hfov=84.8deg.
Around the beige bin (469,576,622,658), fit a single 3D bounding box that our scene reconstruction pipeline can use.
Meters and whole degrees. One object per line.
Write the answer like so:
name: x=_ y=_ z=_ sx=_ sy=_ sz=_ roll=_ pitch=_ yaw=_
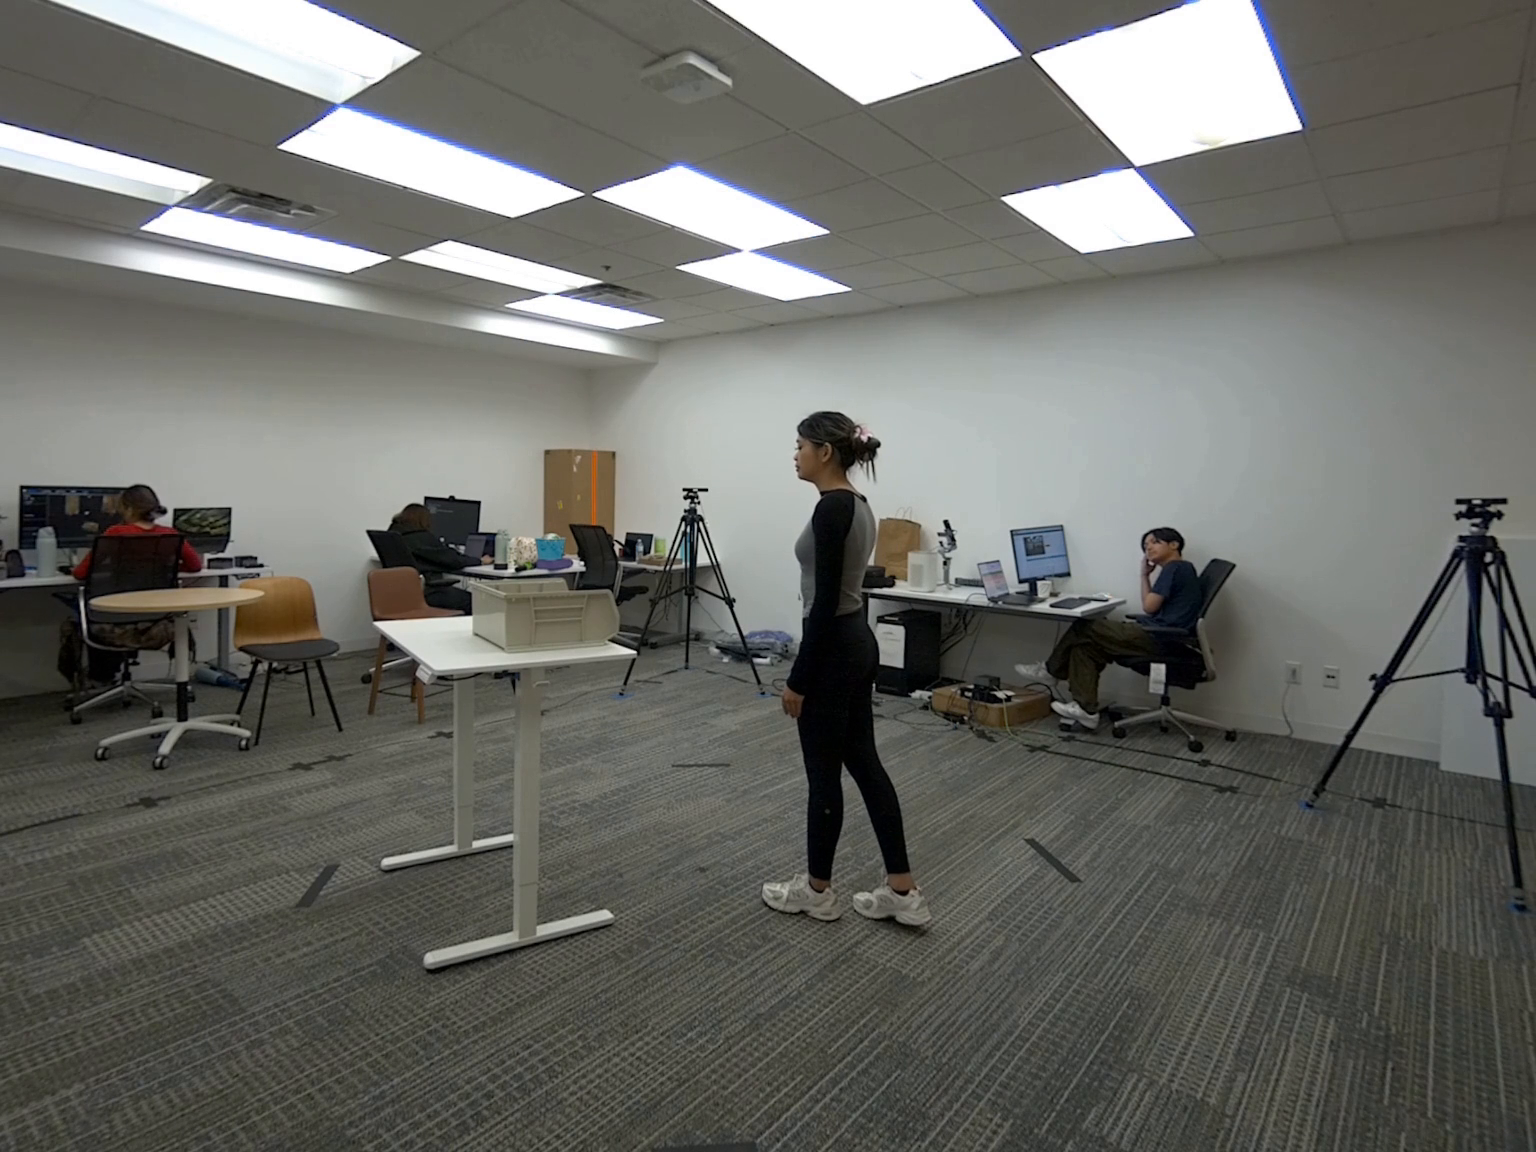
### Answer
beige bin: x=-0.750 y=0.120 z=2.797 sx=0.367 sy=0.188 sz=0.436 roll=-3 pitch=6 yaw=-32
